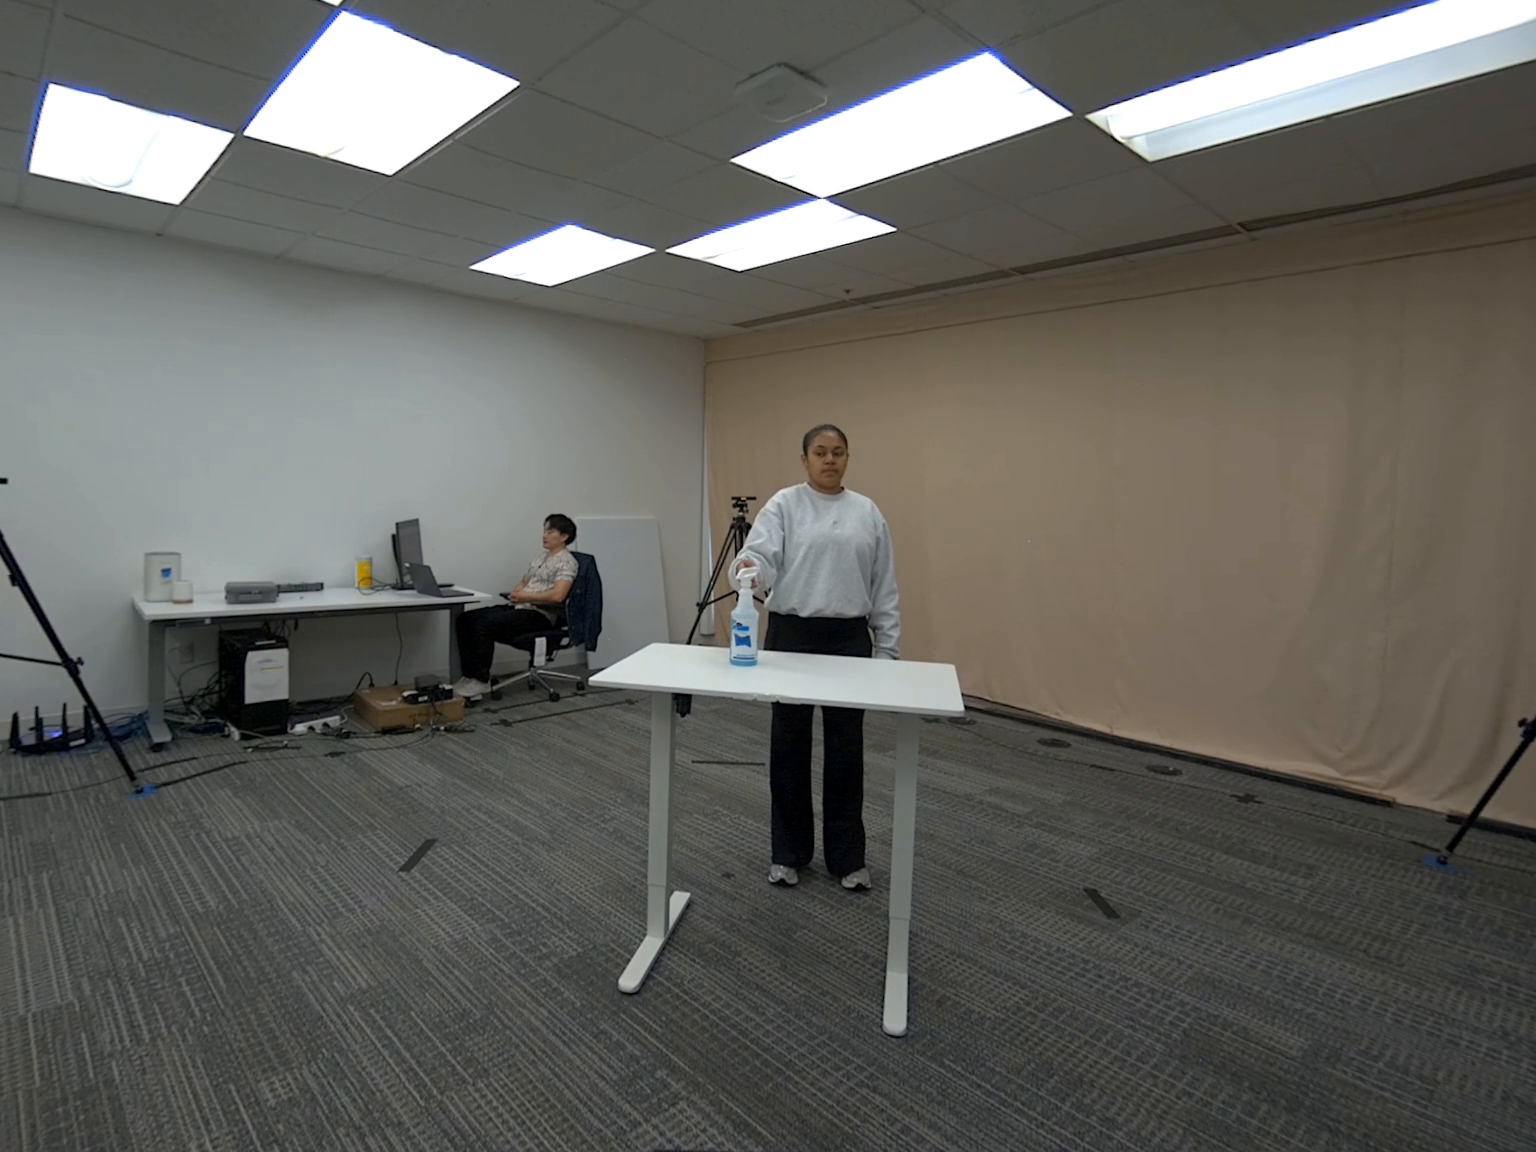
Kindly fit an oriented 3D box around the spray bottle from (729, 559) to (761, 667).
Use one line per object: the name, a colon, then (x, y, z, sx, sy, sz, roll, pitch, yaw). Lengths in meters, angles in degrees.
spray bottle: (-0.079, 0.124, 2.589, 0.088, 0.297, 0.088, 2, 3, -21)
